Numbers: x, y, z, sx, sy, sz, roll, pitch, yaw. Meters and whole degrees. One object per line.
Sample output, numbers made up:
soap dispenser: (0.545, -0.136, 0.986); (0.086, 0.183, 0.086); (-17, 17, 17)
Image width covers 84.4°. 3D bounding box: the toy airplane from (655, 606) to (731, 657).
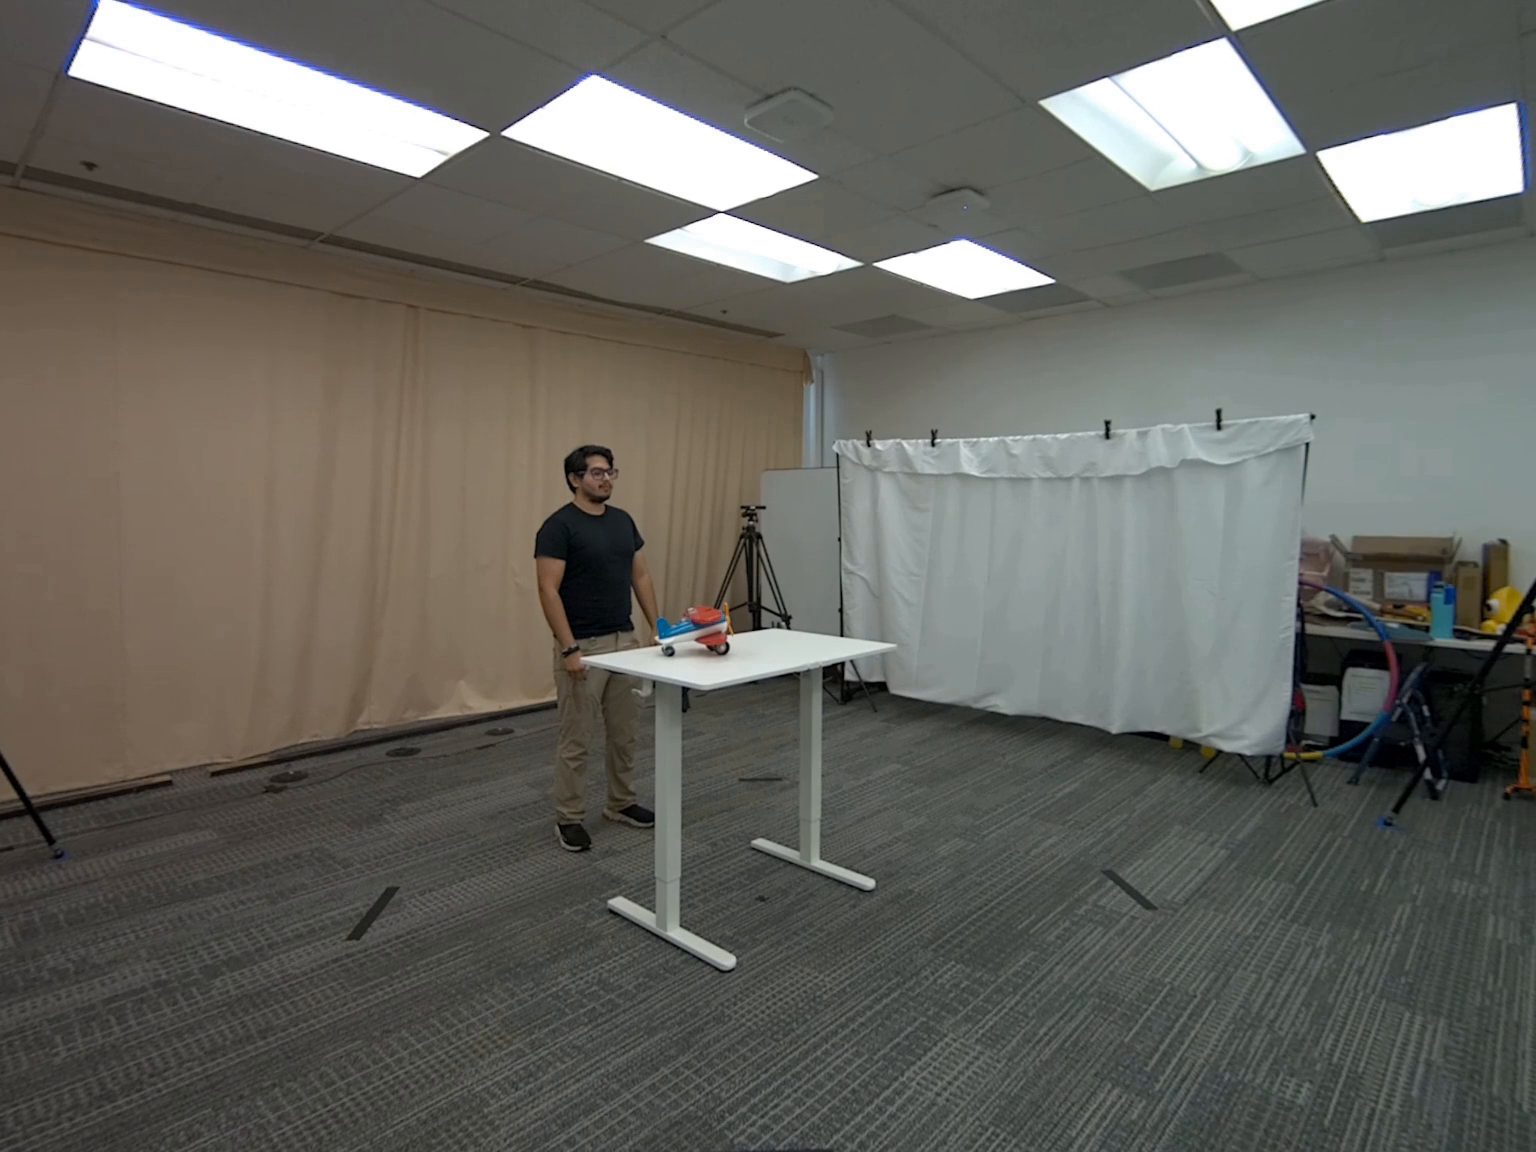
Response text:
toy airplane: (-0.239, 0.192, 2.854); (0.259, 0.156, 0.251); (3, 4, 41)
